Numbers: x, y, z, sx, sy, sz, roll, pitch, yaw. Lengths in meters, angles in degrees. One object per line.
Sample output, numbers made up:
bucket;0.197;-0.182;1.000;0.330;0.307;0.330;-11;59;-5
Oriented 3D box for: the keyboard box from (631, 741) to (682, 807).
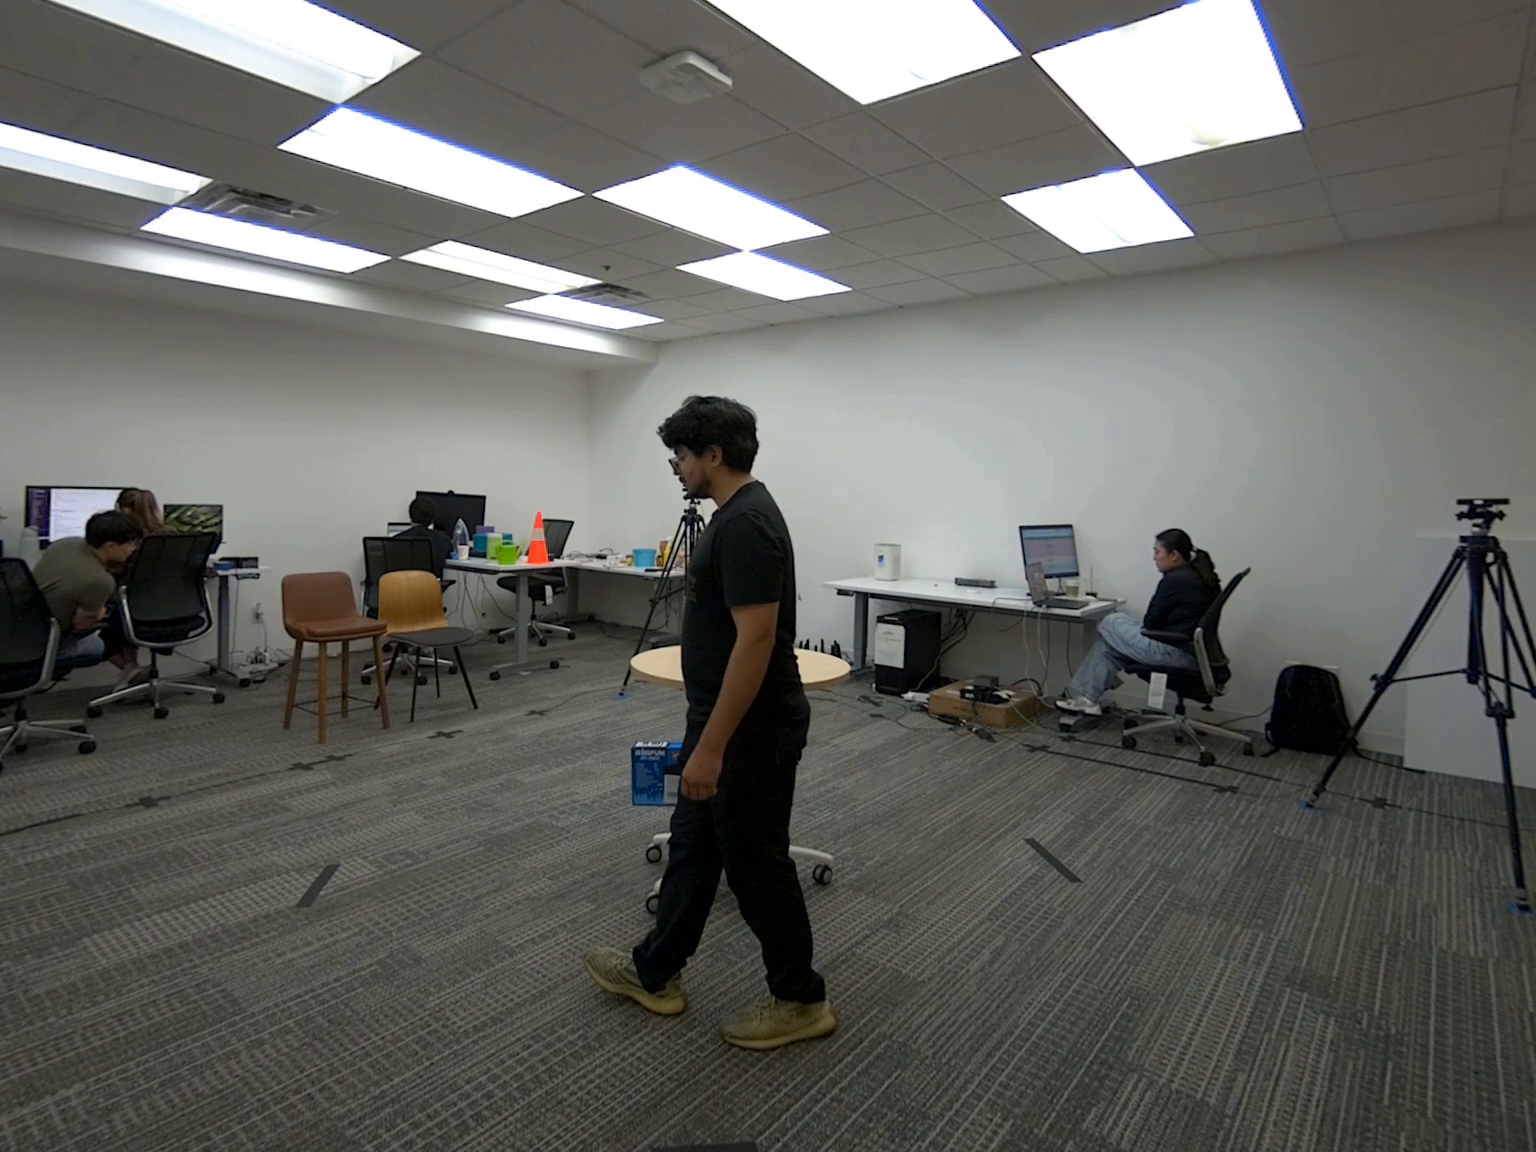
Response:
keyboard box;-0.188;0.560;2.449;0.440;0.176;0.059;-3;1;7
